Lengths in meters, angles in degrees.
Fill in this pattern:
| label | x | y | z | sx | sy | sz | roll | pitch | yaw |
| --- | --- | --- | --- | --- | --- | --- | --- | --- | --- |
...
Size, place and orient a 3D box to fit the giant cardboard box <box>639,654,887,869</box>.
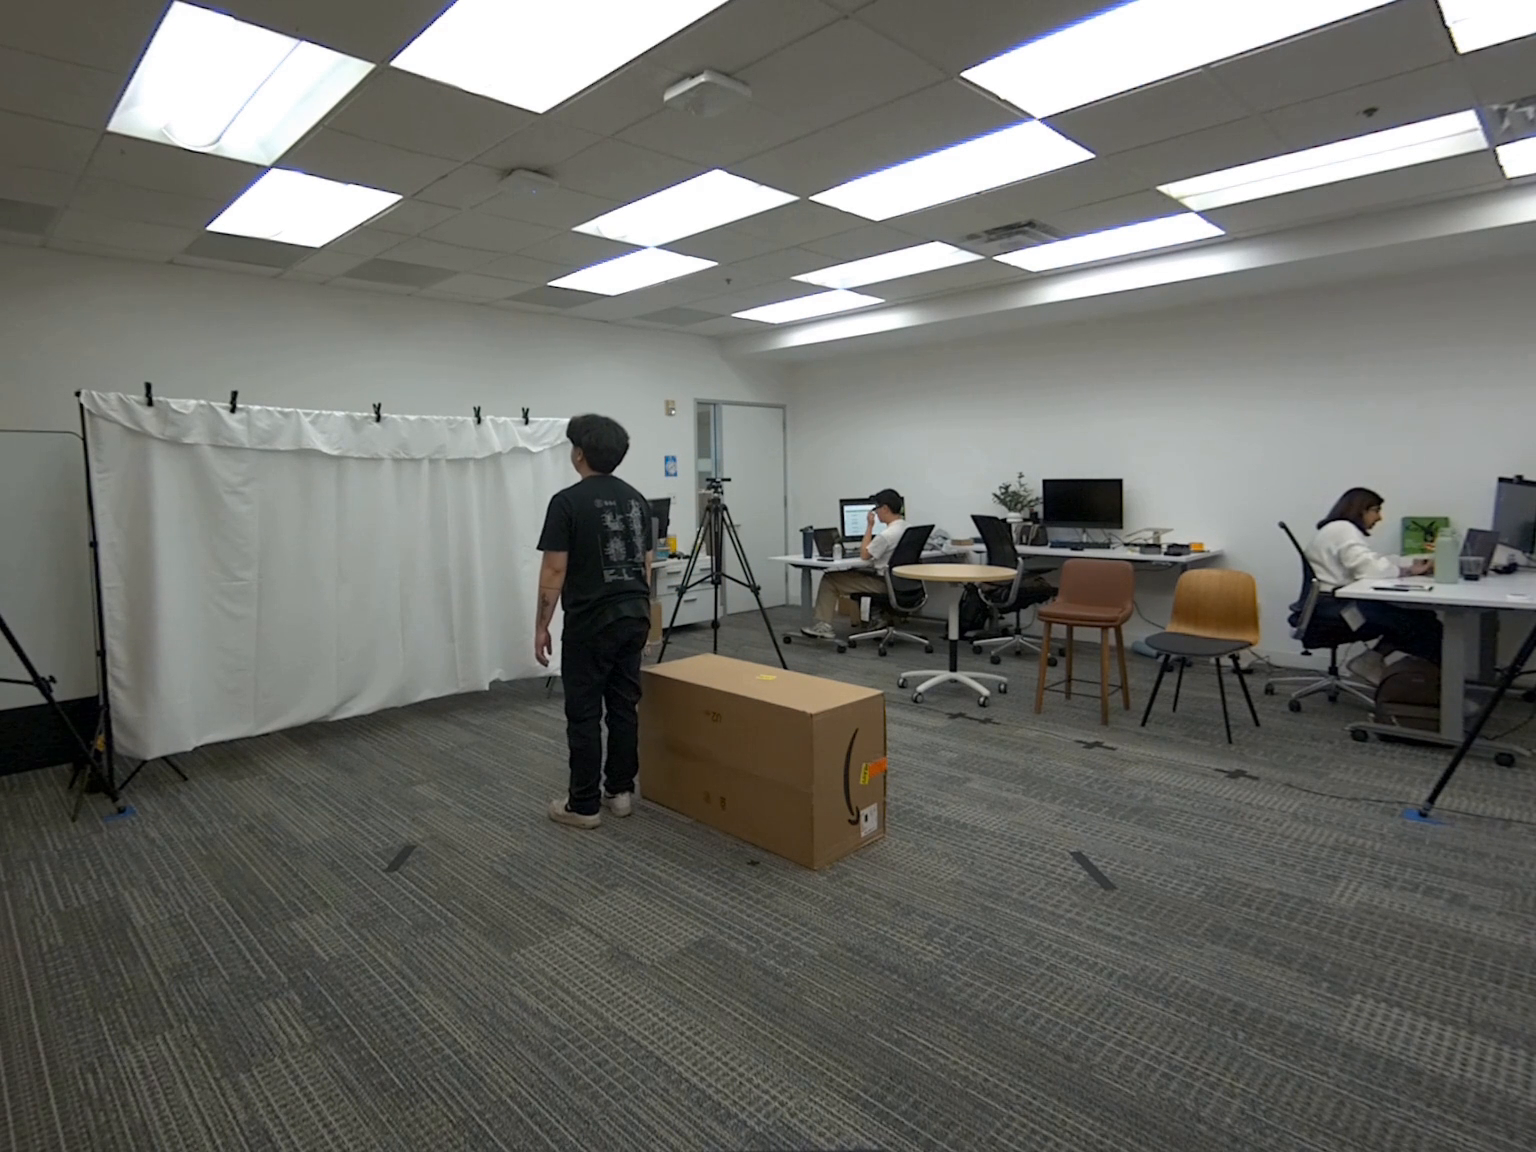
| label | x | y | z | sx | sy | sz | roll | pitch | yaw |
| --- | --- | --- | --- | --- | --- | --- | --- | --- | --- |
| giant cardboard box | -0.053 | 0.711 | 3.526 | 0.435 | 0.582 | 1.059 | -4 | 7 | -44 |
